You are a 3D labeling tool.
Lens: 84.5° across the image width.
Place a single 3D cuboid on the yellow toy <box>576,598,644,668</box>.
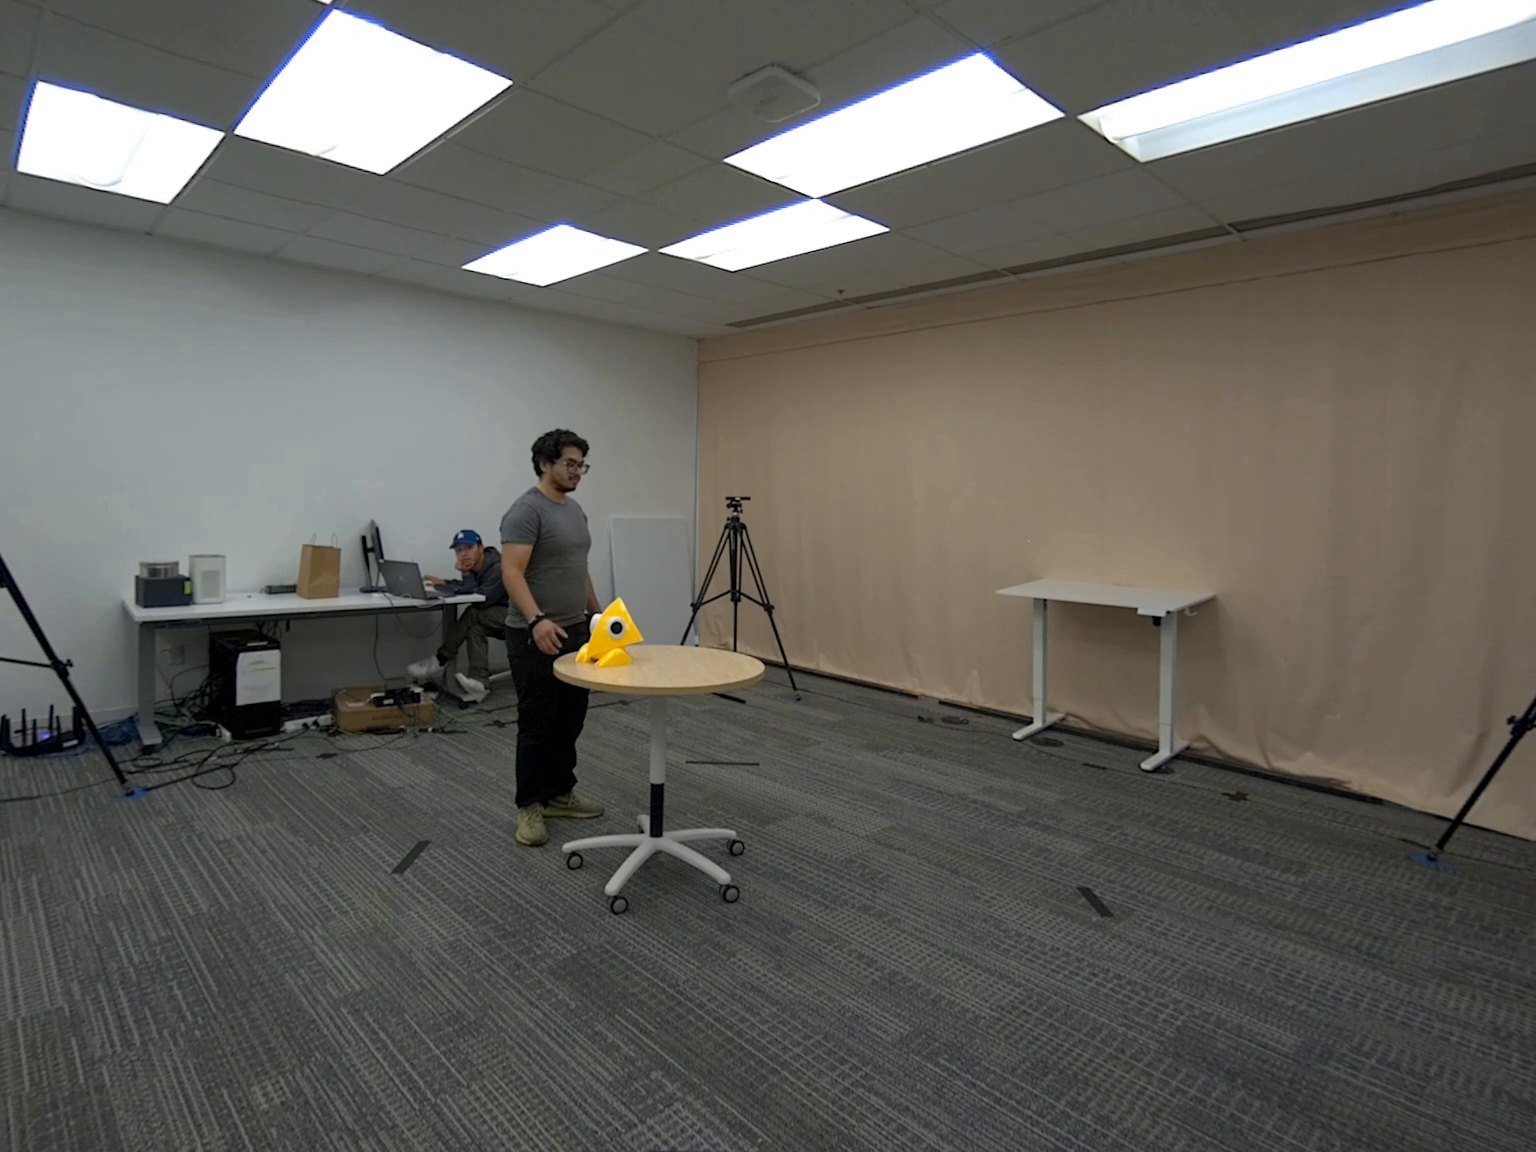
[{"bbox_3d":[-0.600,0.201,3.083,0.210,0.230,0.189,5,6,37],"label":"yellow toy"}]
